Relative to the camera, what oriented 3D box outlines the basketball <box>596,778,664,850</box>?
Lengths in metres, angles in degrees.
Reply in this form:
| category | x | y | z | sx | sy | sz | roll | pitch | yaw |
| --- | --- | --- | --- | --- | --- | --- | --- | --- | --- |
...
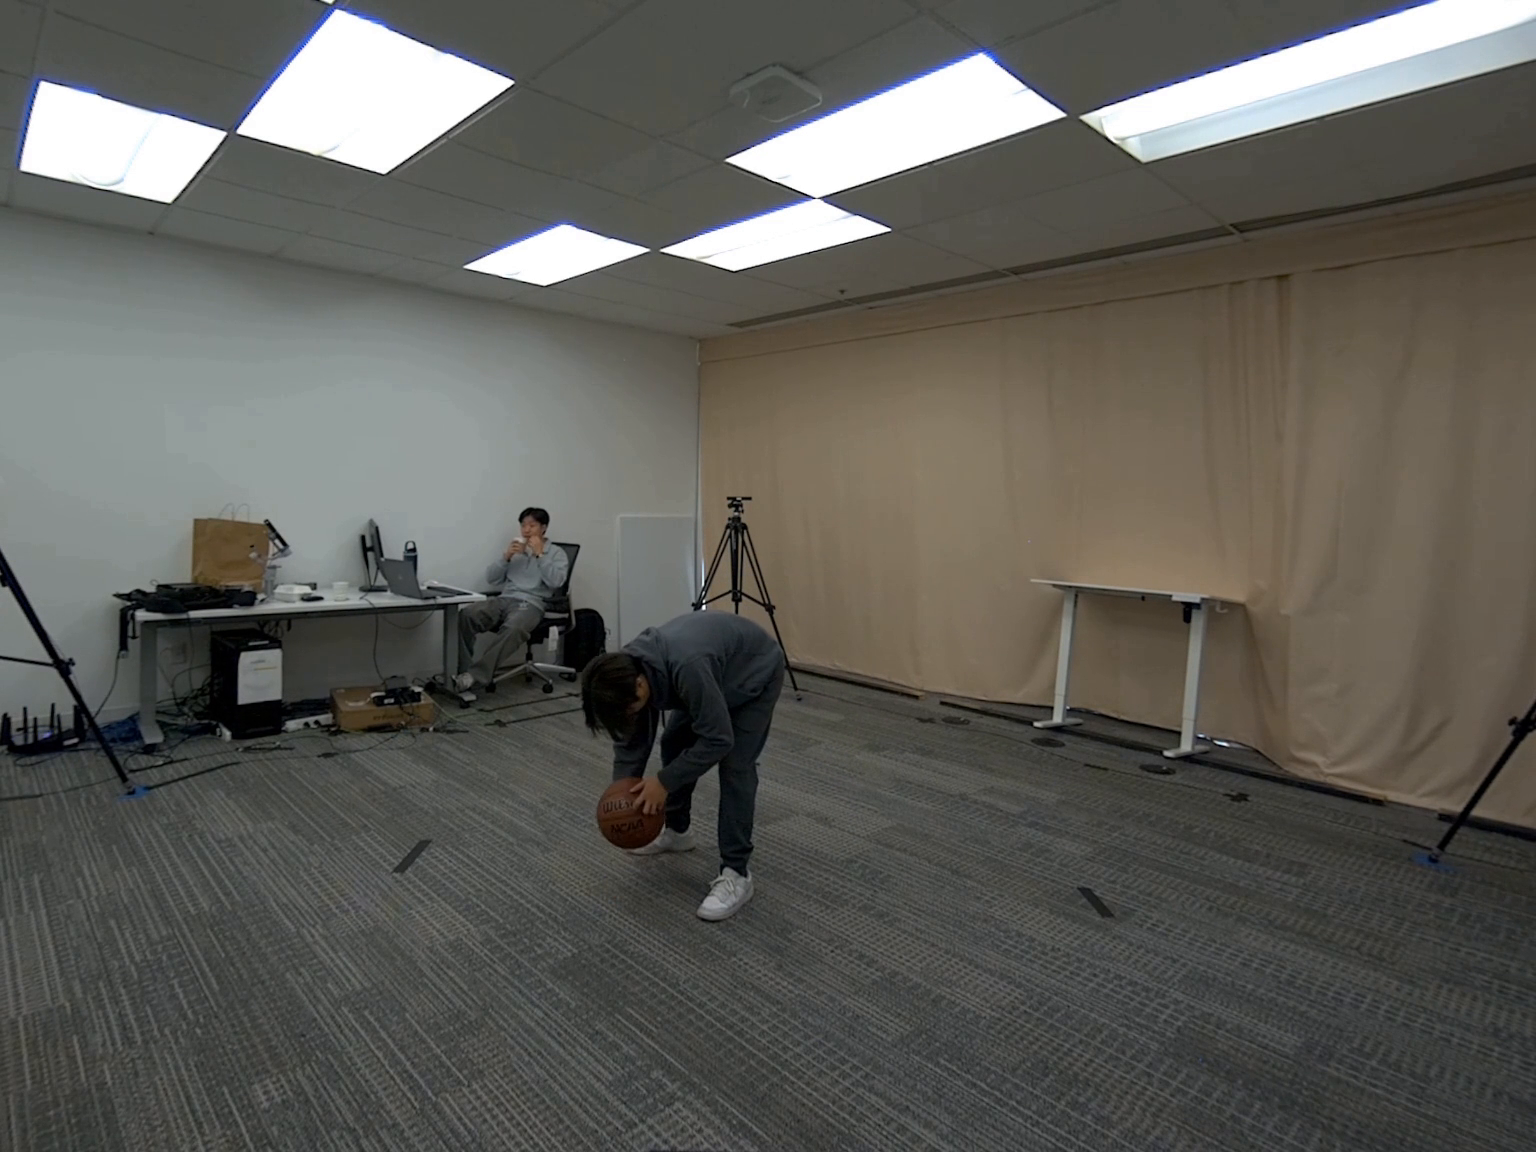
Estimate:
| category | x | y | z | sx | sy | sz | roll | pitch | yaw |
| --- | --- | --- | --- | --- | --- | --- | --- | --- | --- |
| basketball | -0.484 | 0.816 | 2.911 | 0.236 | 0.235 | 0.237 | 1 | 4 | -1 |
